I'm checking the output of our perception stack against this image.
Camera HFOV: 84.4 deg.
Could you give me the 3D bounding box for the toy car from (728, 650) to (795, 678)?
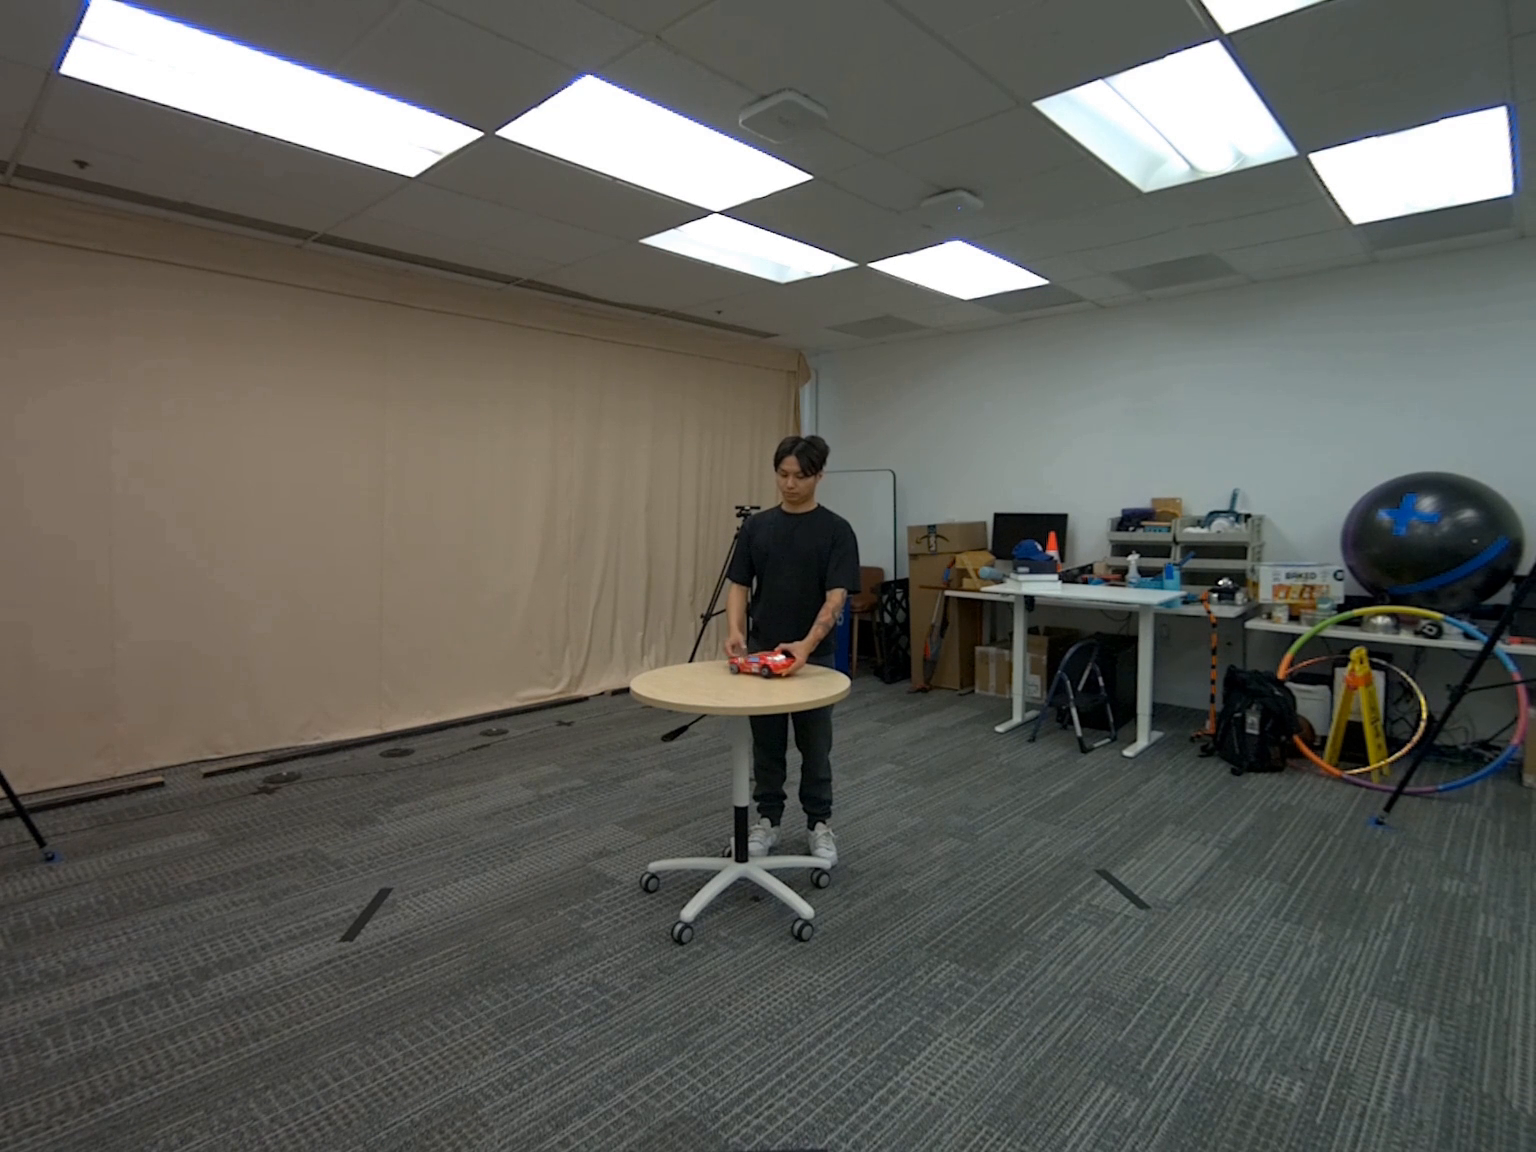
[{"bbox_3d":[-0.022,0.318,3.030,0.261,0.083,0.126,-11,-1,40],"label":"toy car"}]
